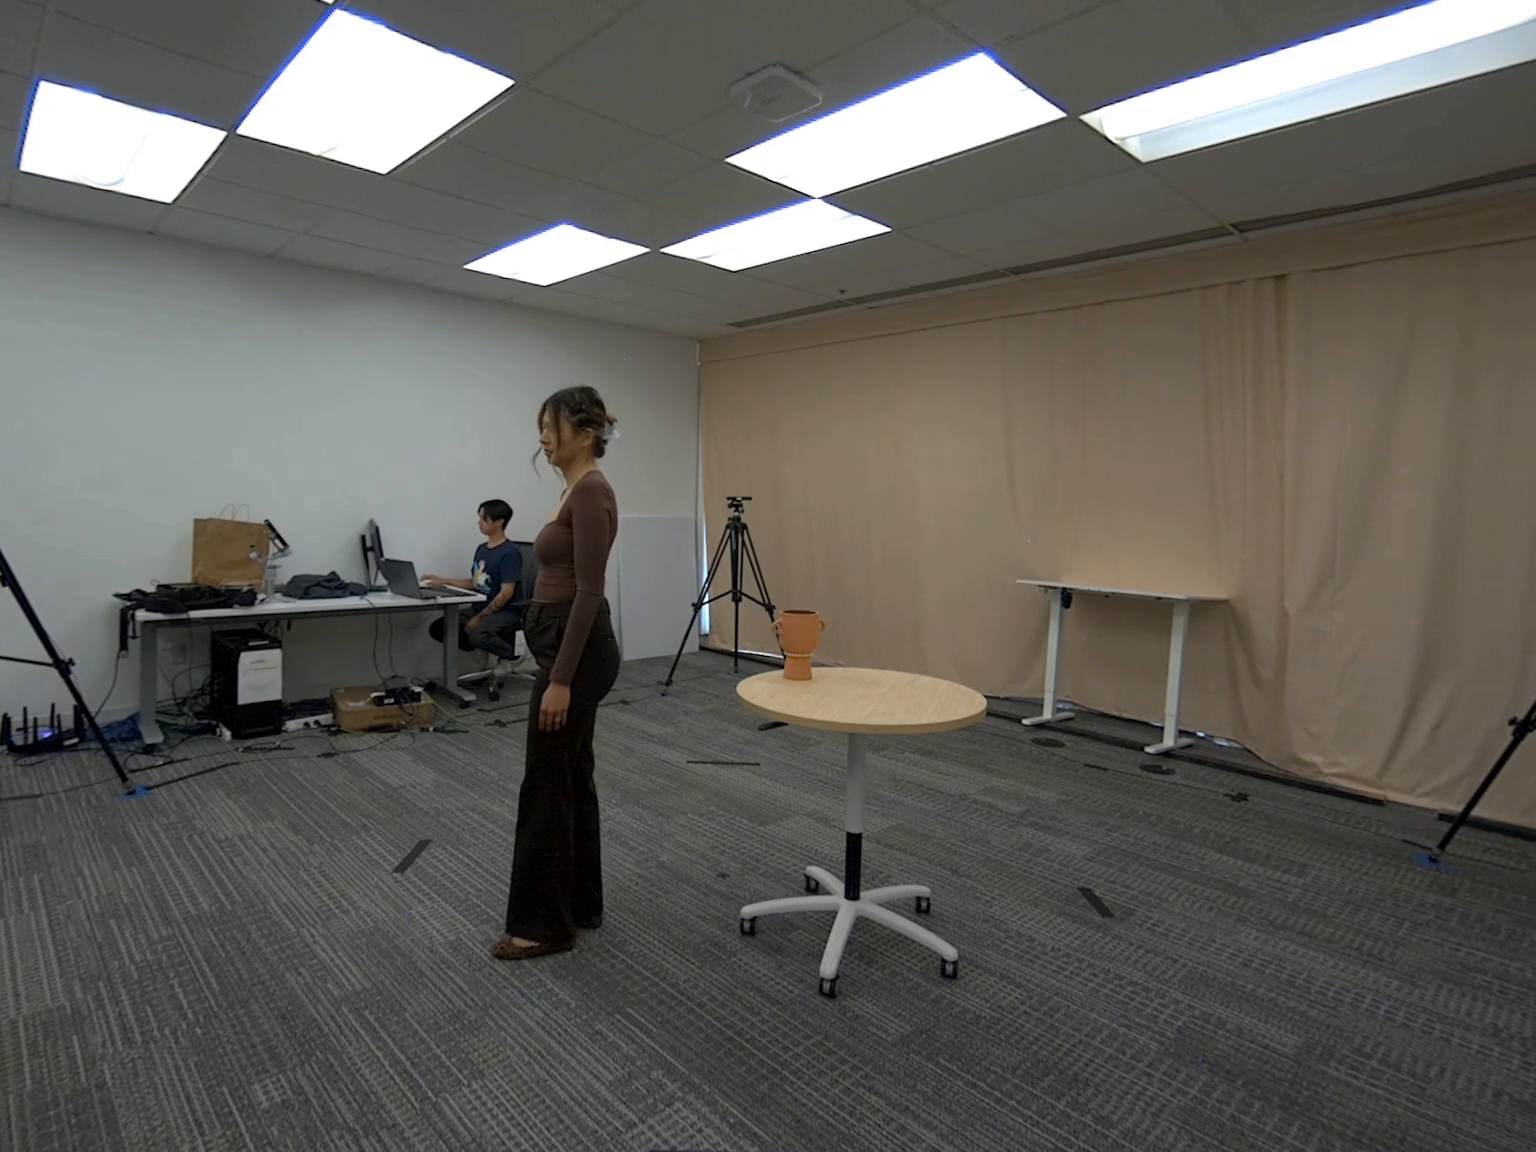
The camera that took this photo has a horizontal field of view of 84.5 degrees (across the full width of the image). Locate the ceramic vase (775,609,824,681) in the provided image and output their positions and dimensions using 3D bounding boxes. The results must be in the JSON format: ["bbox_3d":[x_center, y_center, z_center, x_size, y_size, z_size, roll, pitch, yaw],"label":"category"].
[{"bbox_3d":[0.099,0.233,2.810,0.161,0.219,0.133,2,2,16],"label":"ceramic vase"}]
